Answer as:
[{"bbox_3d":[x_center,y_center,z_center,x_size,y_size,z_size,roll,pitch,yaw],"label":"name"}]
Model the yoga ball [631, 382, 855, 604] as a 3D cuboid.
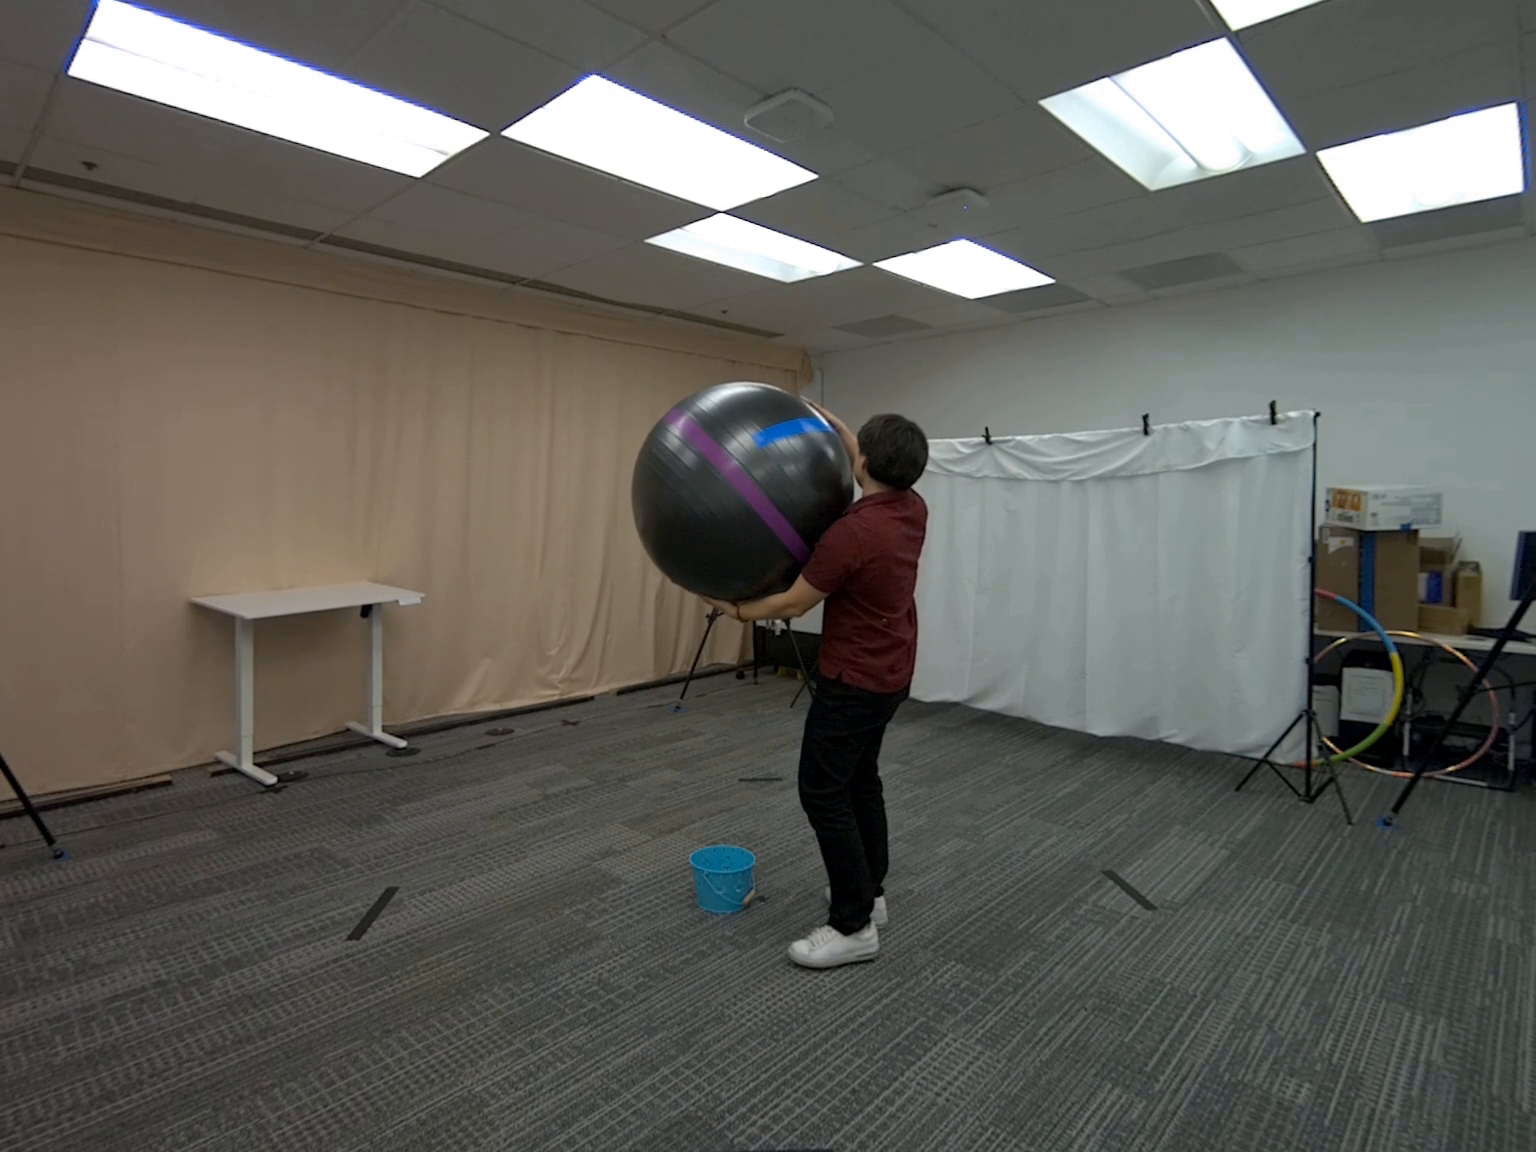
[{"bbox_3d":[-0.087,-0.272,2.890,0.757,0.756,0.760,0,4,-2],"label":"yoga ball"}]
